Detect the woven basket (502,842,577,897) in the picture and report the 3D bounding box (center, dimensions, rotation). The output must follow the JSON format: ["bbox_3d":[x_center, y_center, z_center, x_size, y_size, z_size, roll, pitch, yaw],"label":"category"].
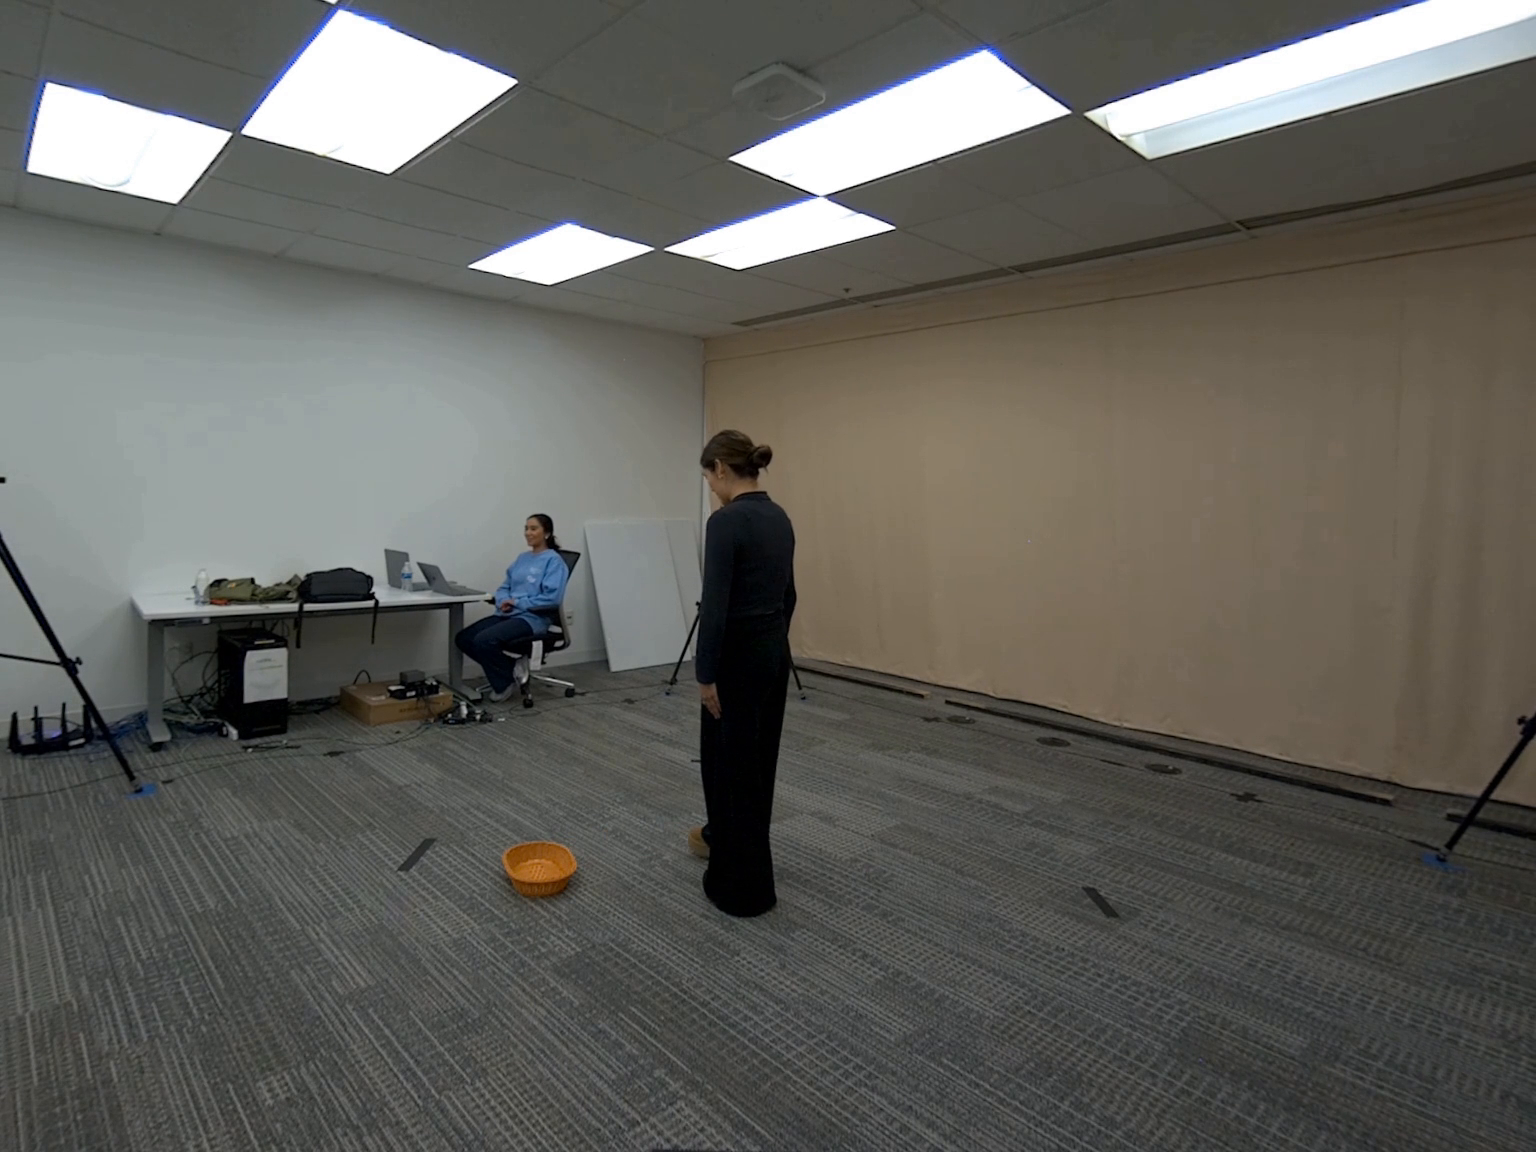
[{"bbox_3d":[-0.825,1.051,3.033,0.248,0.073,0.358,0,6,-25],"label":"woven basket"}]
